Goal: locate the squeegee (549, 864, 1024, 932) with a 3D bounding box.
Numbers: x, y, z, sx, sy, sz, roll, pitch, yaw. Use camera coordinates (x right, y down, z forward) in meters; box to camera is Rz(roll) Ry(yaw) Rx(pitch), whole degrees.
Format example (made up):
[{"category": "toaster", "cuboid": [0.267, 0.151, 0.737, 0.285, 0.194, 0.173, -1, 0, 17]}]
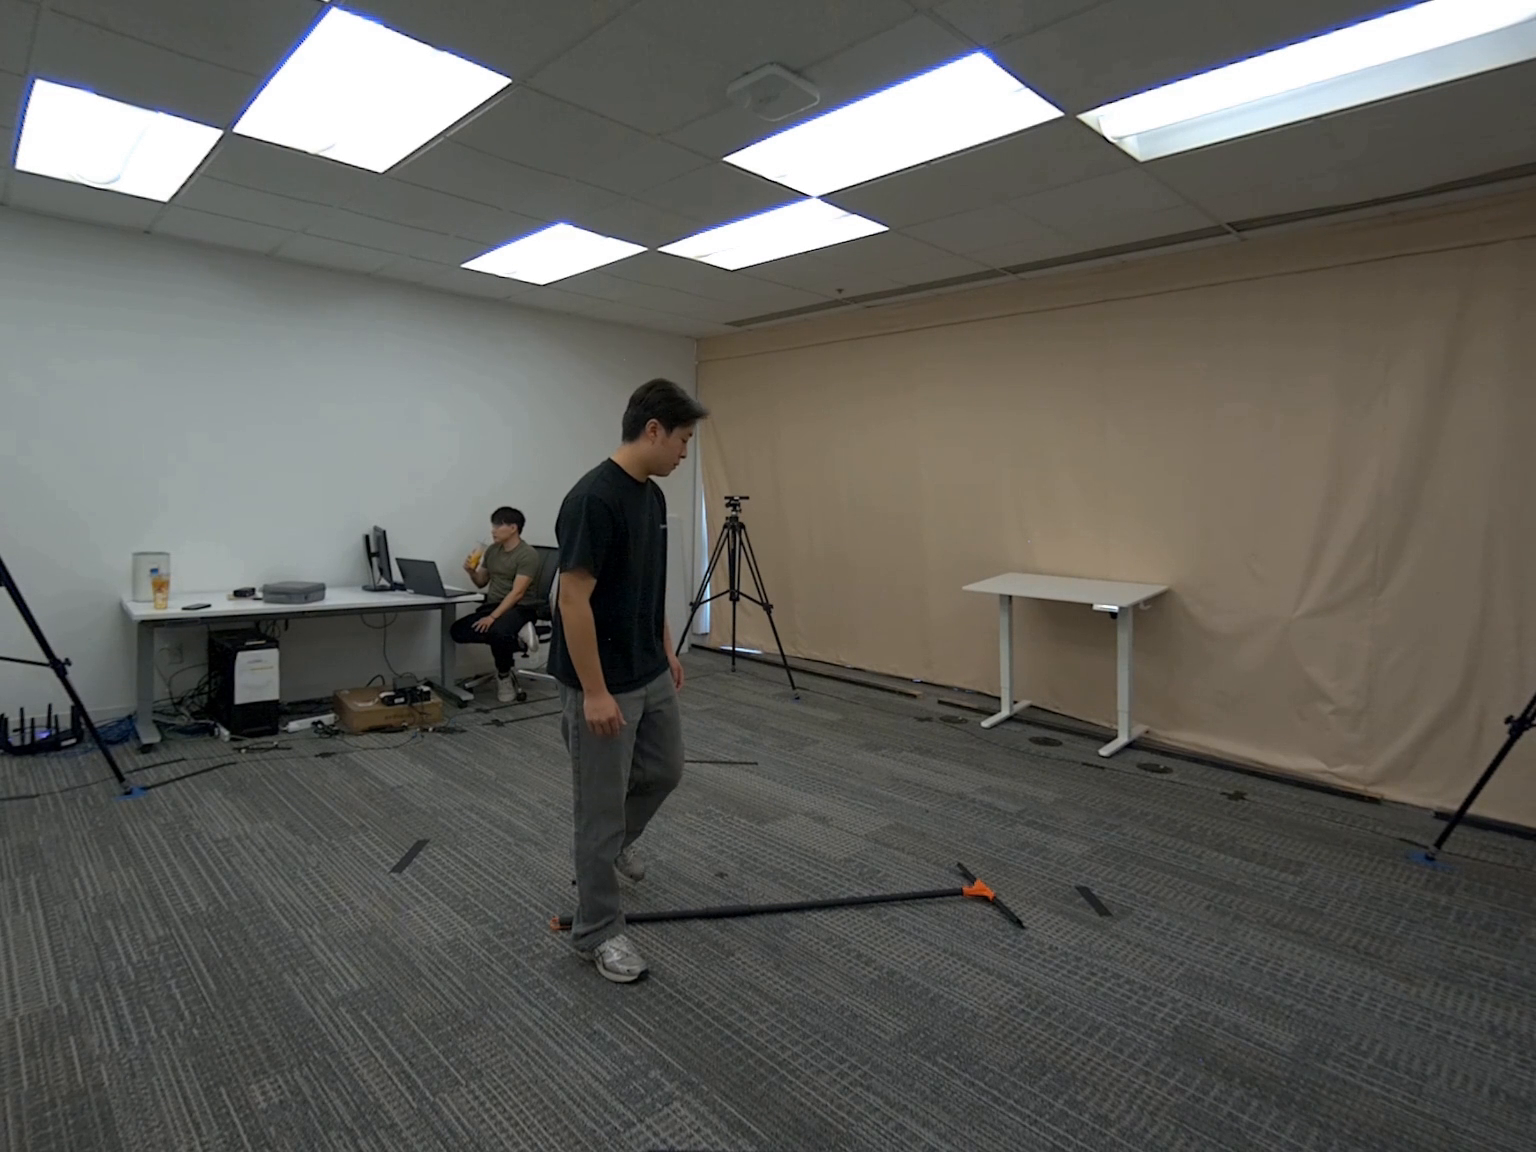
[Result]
[{"category": "squeegee", "cuboid": [0.044, 1.084, 2.829, 1.522, 0.053, 0.443, 1, 6, -12]}]
